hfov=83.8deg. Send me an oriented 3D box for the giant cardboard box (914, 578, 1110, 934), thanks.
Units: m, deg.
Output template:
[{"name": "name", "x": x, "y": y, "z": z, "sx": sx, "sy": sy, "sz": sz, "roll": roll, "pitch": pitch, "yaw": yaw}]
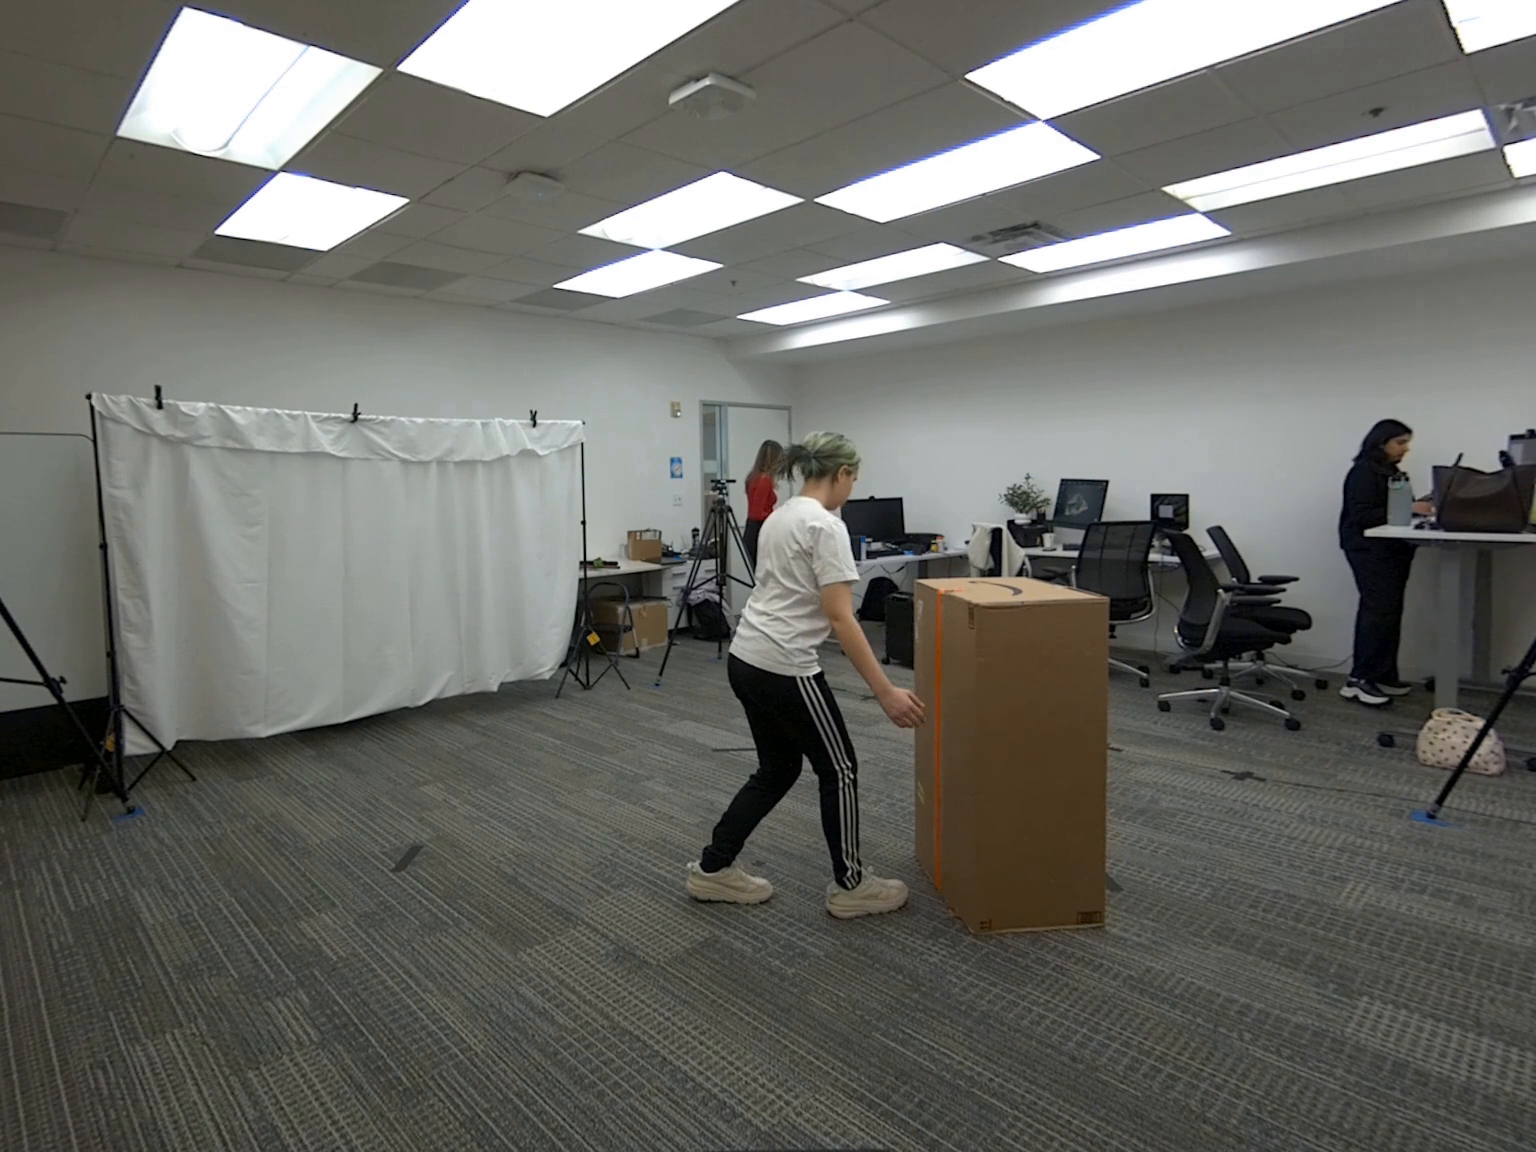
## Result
[{"name": "giant cardboard box", "x": 0.787, "y": 0.554, "z": 2.860, "sx": 0.444, "sy": 1.023, "sz": 0.590, "roll": -1, "pitch": 5, "yaw": -8}]
